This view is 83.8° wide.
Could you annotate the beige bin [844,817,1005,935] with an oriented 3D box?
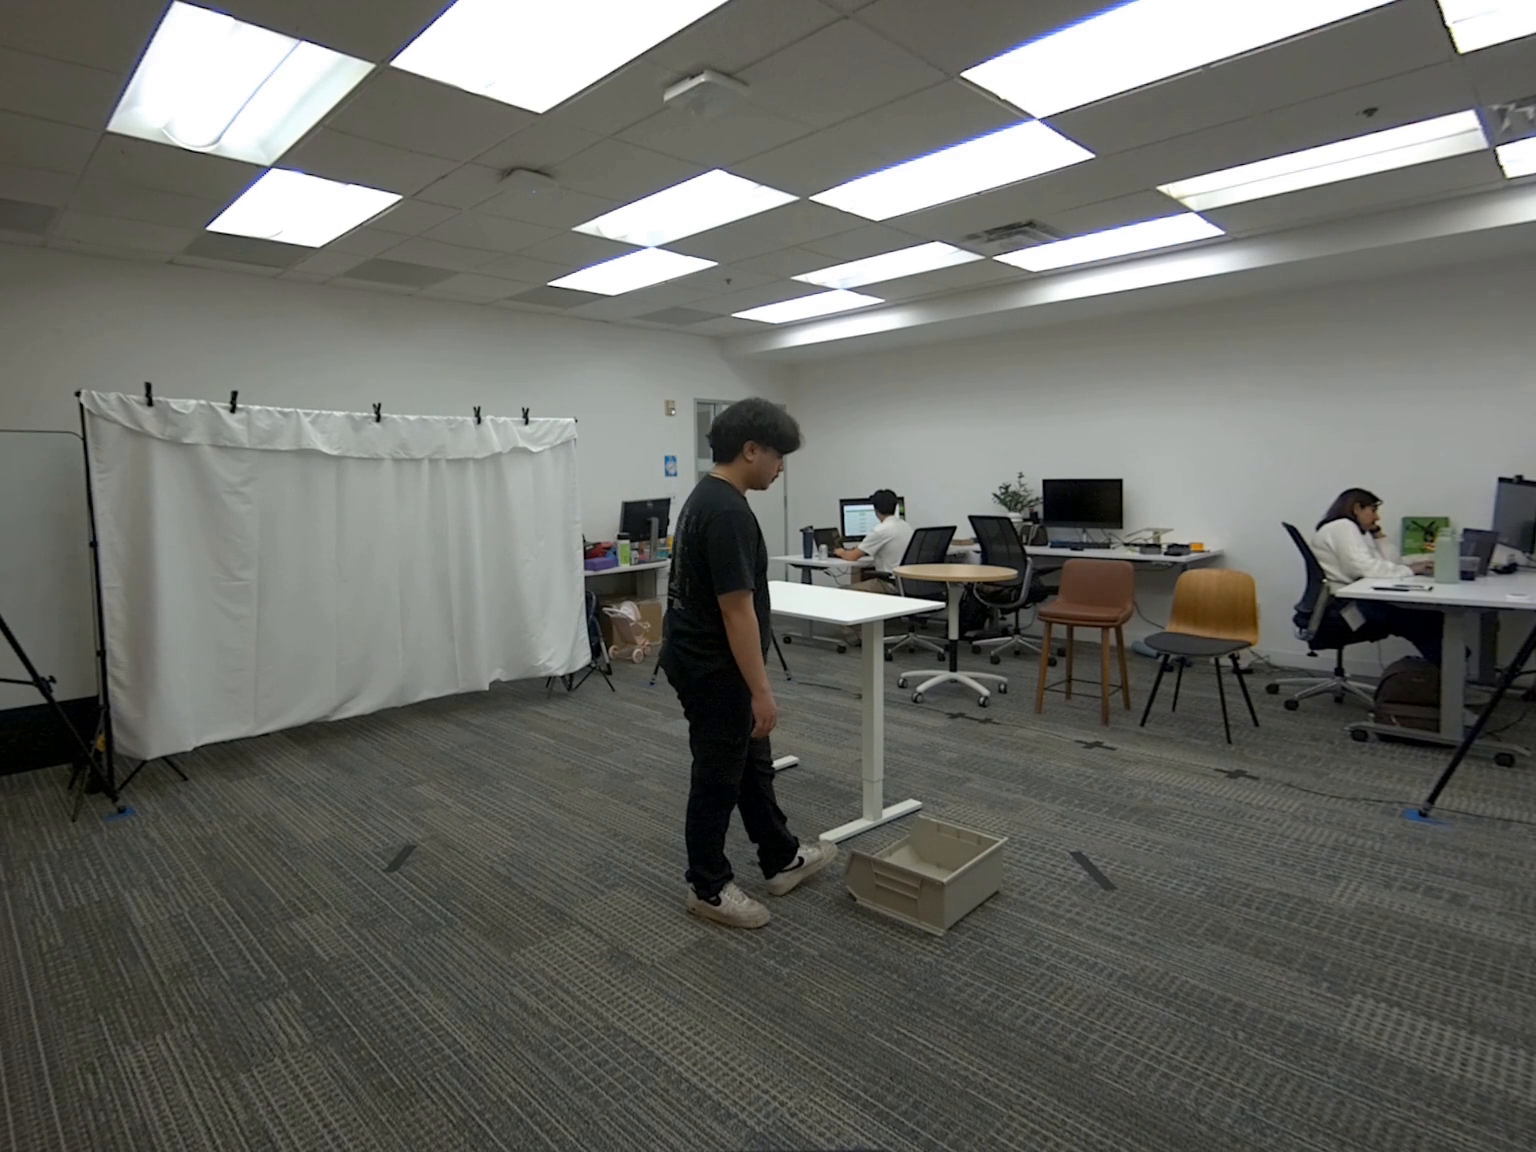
[{"bbox_3d":[0.526,0.975,2.843,0.389,0.188,0.411,6,9,42],"label":"beige bin"}]
